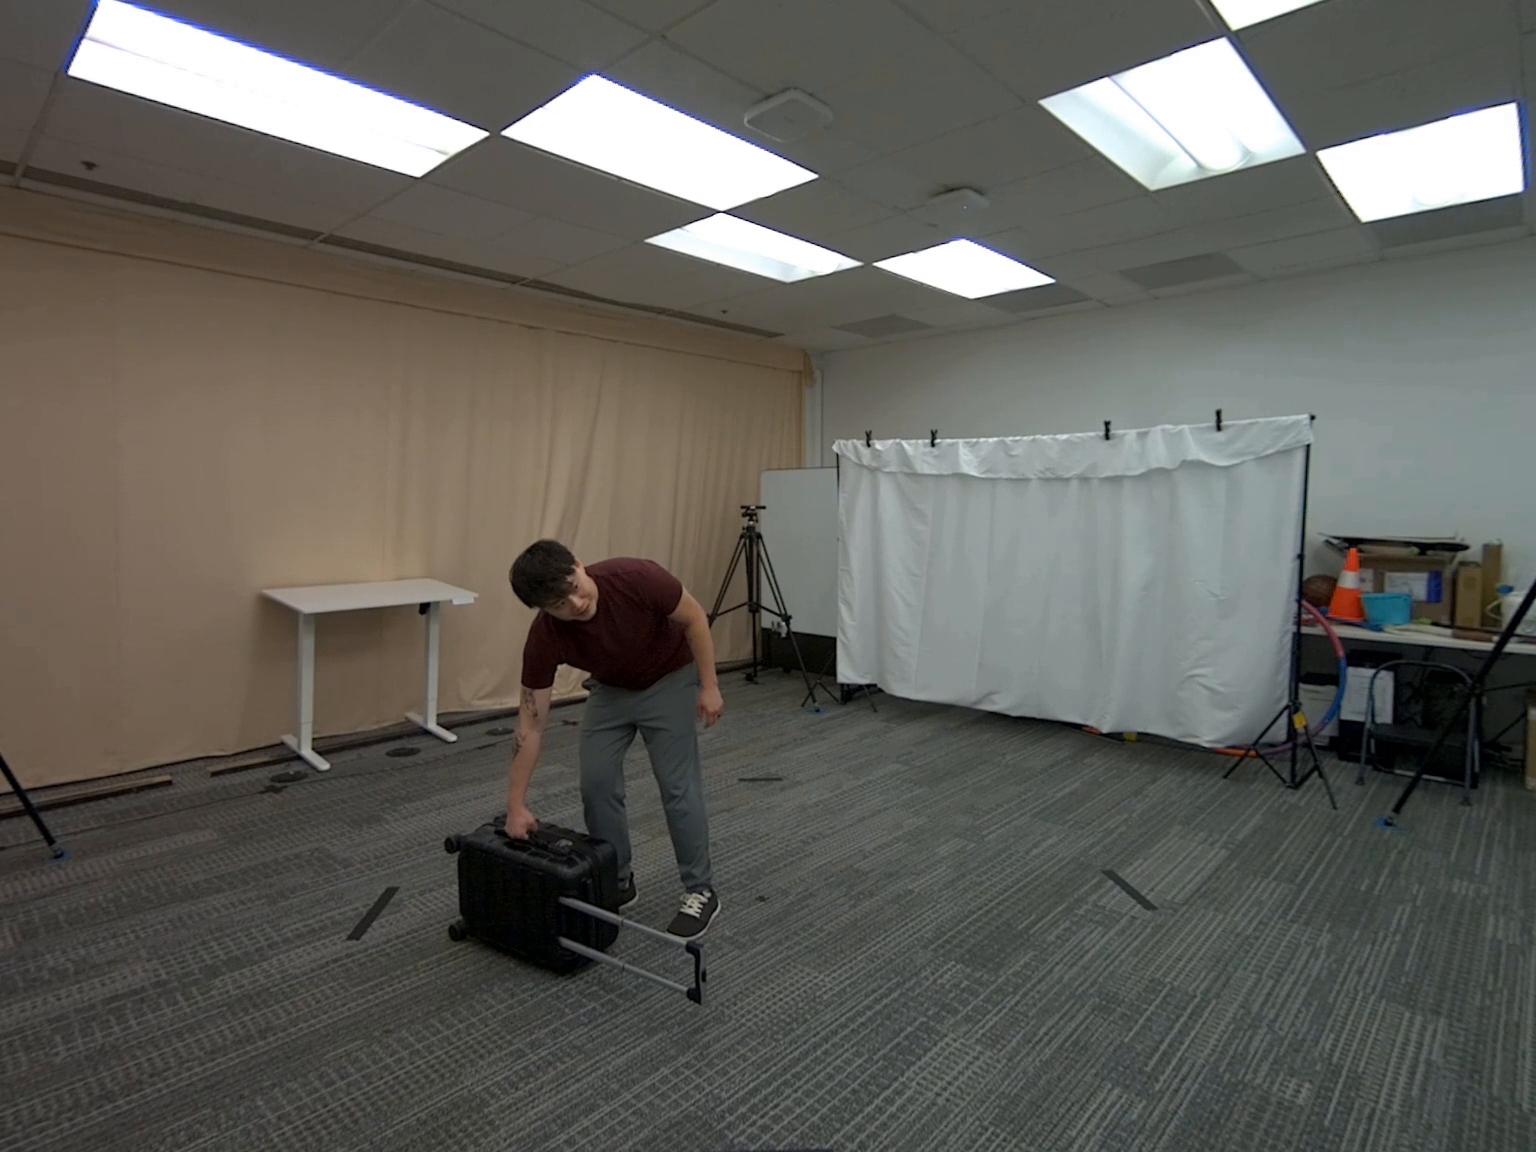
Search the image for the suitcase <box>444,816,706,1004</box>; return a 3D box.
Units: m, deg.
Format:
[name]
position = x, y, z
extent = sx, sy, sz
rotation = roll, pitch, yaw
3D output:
[suitcase]
position = -0.553, 0.996, 2.545
extent = 1.007, 0.383, 0.250
rotation = 2, 6, 30
